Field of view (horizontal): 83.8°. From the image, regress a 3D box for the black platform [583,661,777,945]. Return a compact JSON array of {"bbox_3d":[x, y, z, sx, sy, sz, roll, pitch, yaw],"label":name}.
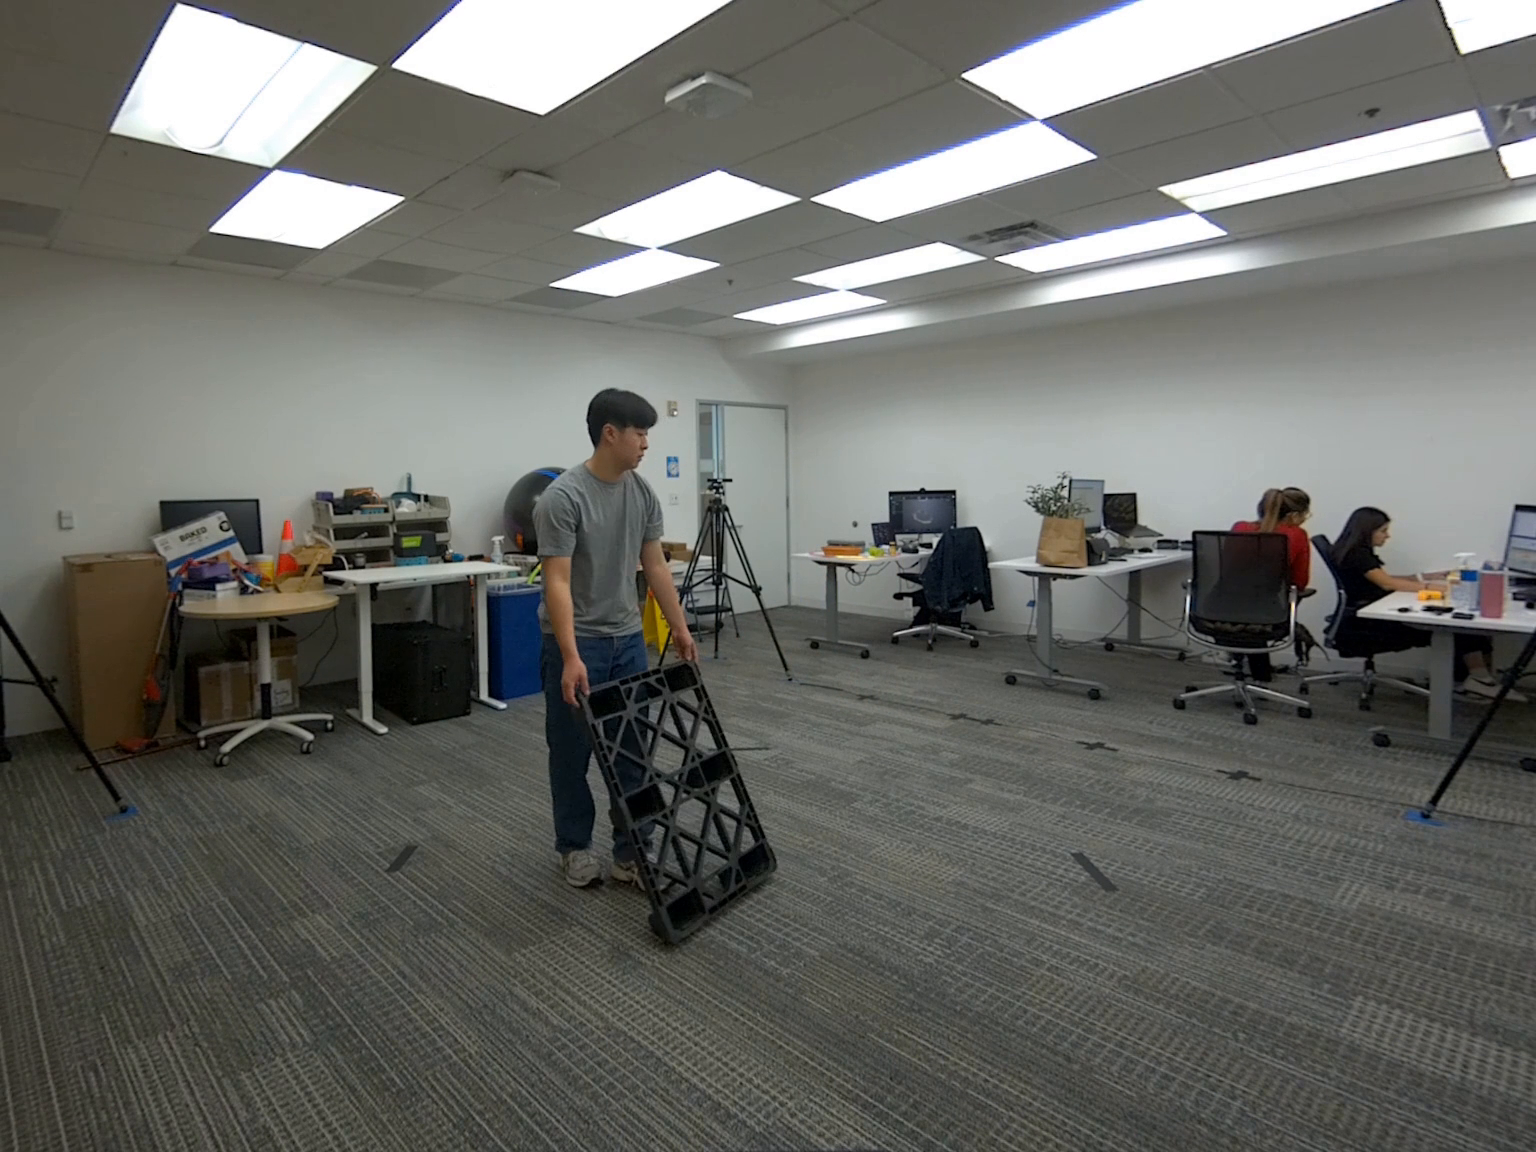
[{"bbox_3d":[-0.314,0.724,2.866,0.145,0.817,0.591,-31,-13,34],"label":"black platform"}]
